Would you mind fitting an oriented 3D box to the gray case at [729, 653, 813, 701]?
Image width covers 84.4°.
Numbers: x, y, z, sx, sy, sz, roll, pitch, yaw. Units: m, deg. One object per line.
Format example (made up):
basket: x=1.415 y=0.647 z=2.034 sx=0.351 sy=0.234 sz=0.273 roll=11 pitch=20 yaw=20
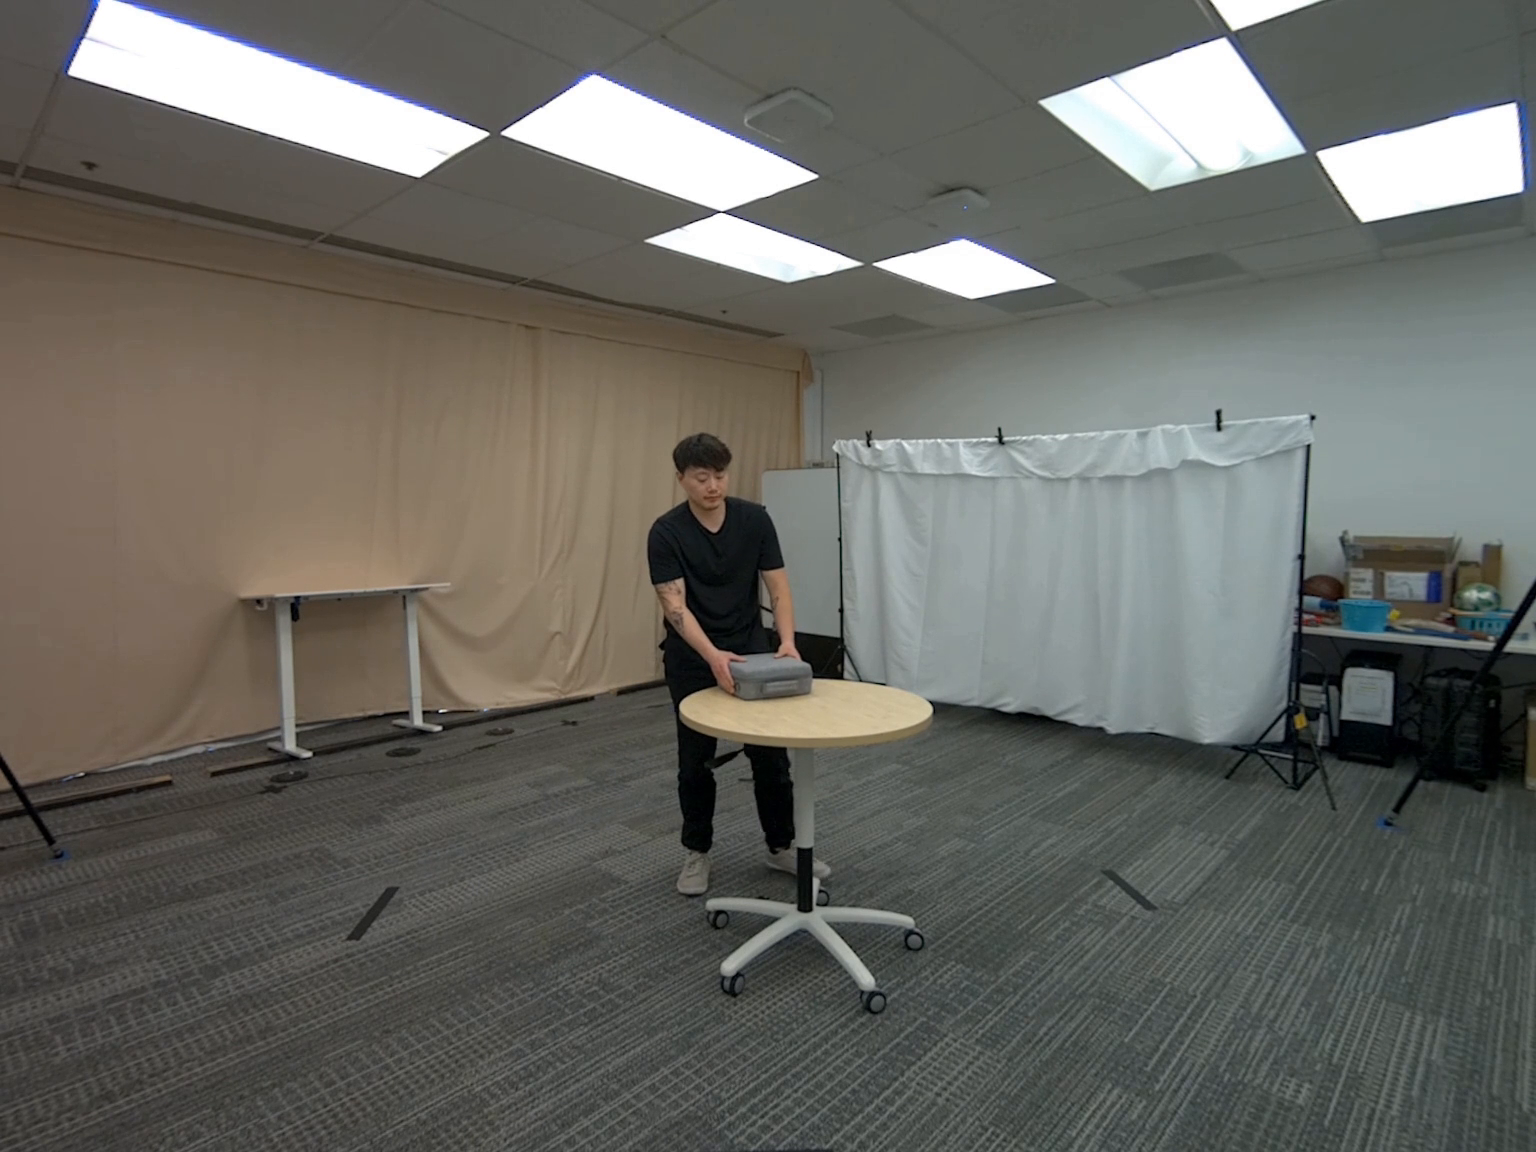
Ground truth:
gray case: x=-0.006 y=0.325 z=2.766 sx=0.251 sy=0.104 sz=0.267 roll=-2 pitch=5 yaw=-22
